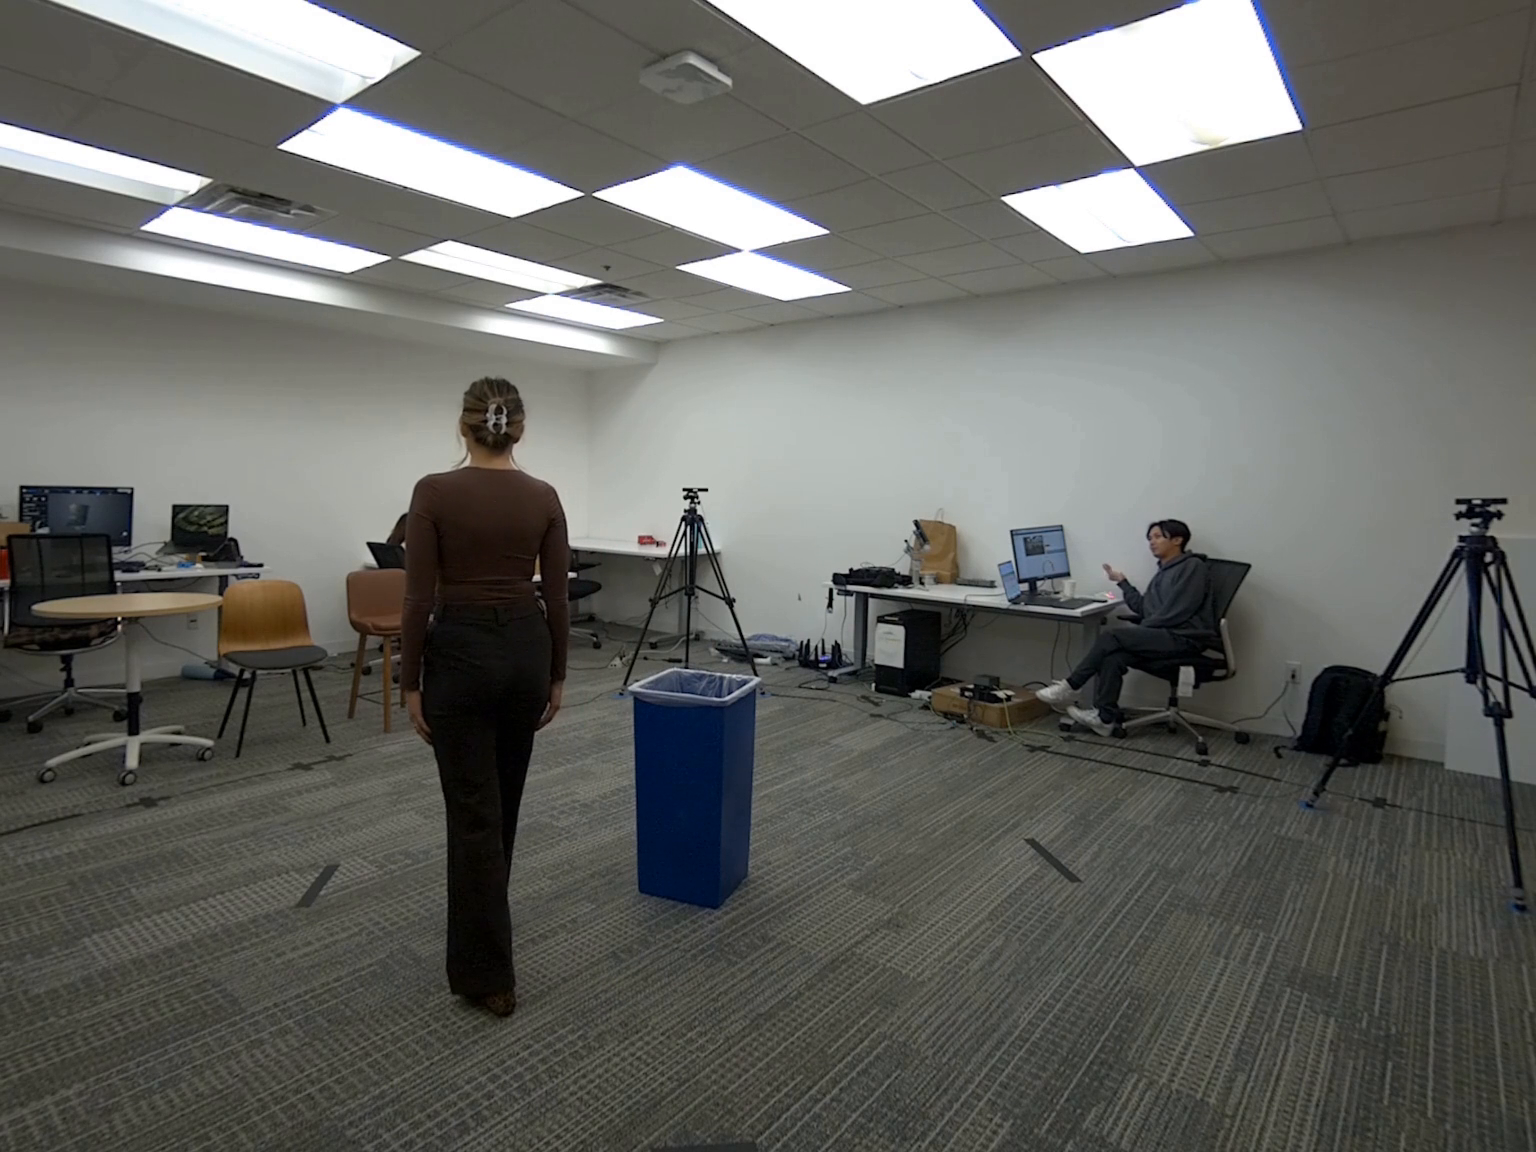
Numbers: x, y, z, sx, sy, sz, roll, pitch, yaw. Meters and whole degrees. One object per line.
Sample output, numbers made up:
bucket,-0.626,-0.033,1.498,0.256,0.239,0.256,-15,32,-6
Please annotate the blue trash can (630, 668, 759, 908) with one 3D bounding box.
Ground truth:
blue trash can,-0.257,0.720,2.986,0.382,0.712,0.371,1,3,20
